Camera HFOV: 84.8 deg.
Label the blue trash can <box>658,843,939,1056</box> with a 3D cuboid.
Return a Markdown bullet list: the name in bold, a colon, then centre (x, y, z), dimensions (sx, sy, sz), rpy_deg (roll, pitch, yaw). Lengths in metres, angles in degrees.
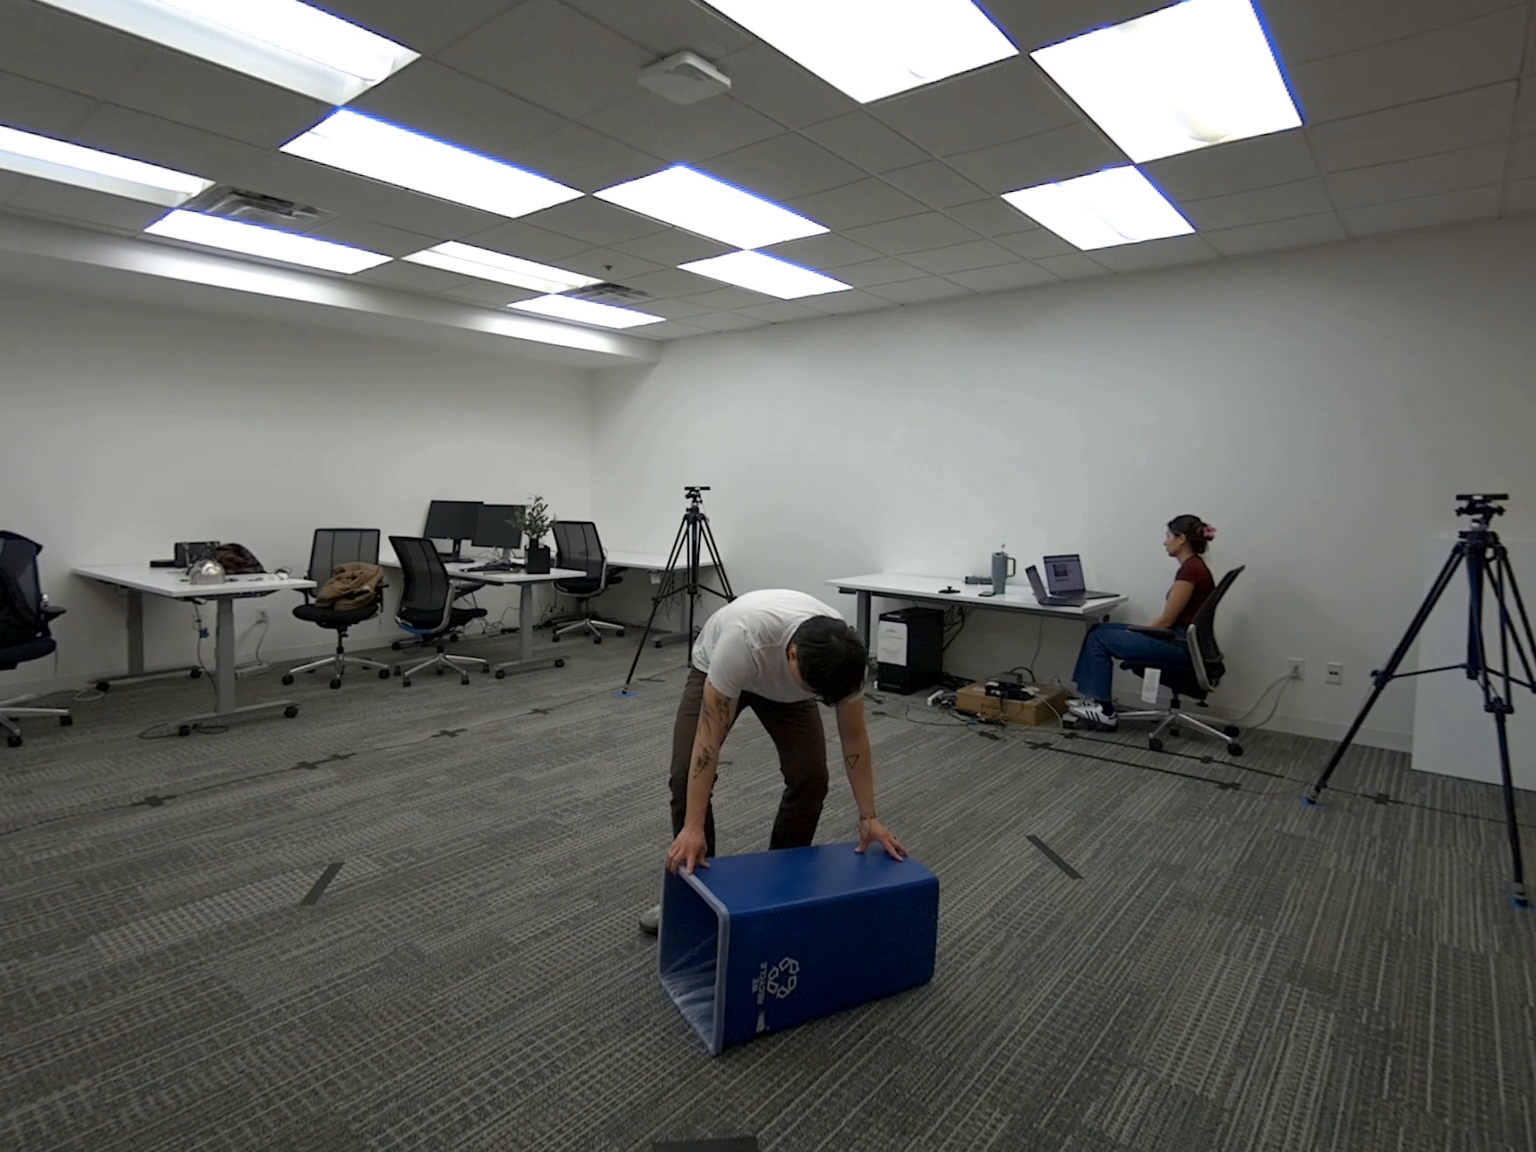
- **blue trash can**: centre (0.088, 0.976, 2.366), dimensions (0.696, 0.377, 0.384), rpy_deg (0, 3, -26)
